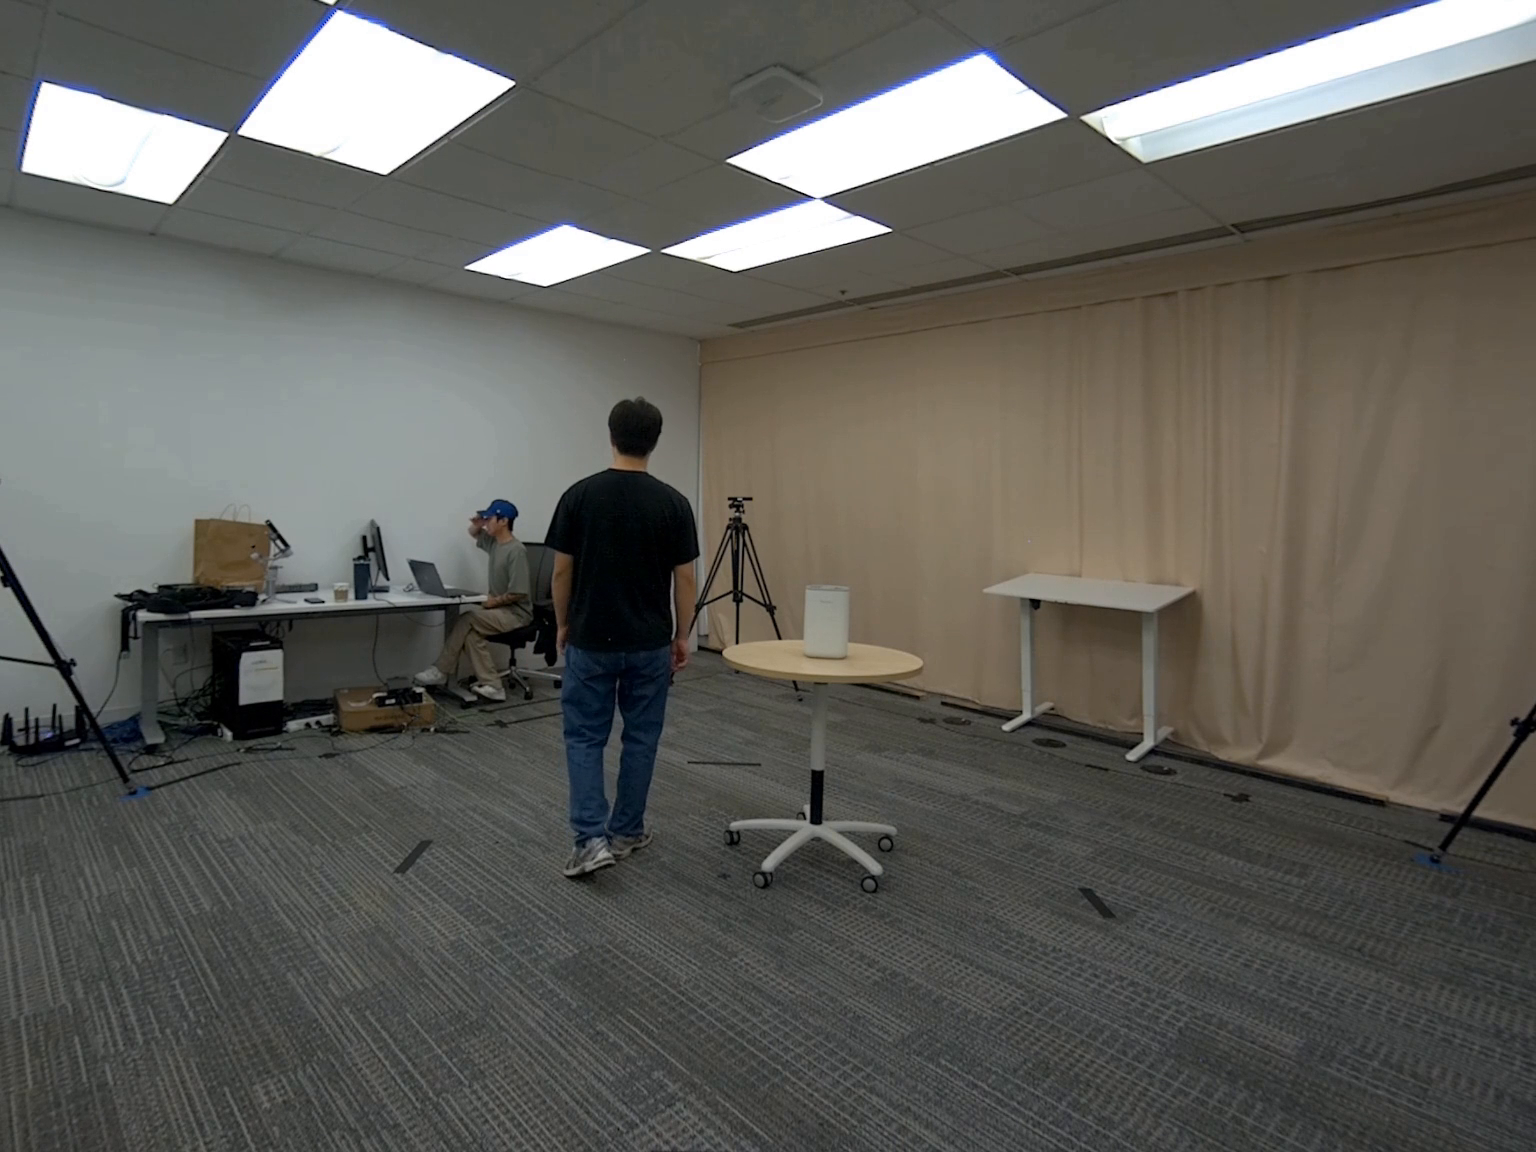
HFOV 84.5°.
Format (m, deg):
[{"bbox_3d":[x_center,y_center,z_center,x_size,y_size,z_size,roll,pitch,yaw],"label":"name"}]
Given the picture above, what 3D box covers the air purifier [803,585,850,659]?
[{"bbox_3d":[0.215,0.175,3.254,0.172,0.265,0.171,2,4,8],"label":"air purifier"}]
